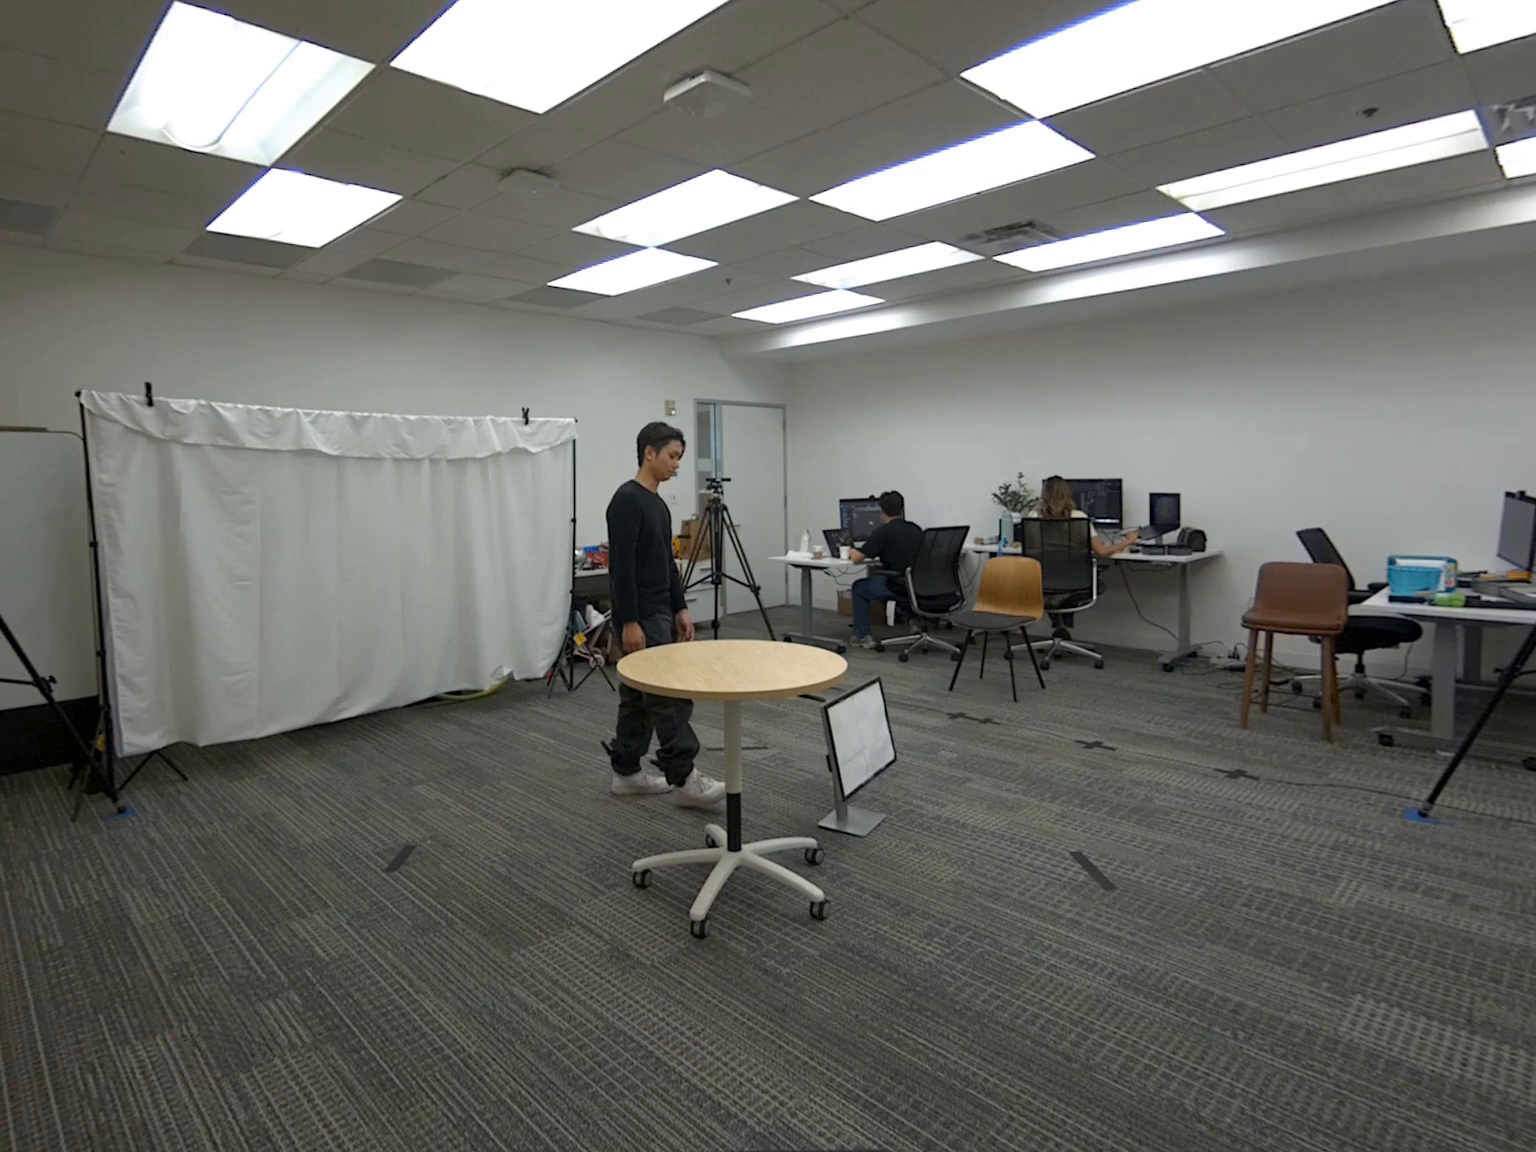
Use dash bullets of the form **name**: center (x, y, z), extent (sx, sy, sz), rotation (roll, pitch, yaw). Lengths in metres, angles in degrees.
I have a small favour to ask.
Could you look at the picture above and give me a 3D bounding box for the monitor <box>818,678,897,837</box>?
- **monitor**: center (0.343, 0.732, 3.446), extent (0.192, 0.520, 0.528), rotation (3, 6, 28)
